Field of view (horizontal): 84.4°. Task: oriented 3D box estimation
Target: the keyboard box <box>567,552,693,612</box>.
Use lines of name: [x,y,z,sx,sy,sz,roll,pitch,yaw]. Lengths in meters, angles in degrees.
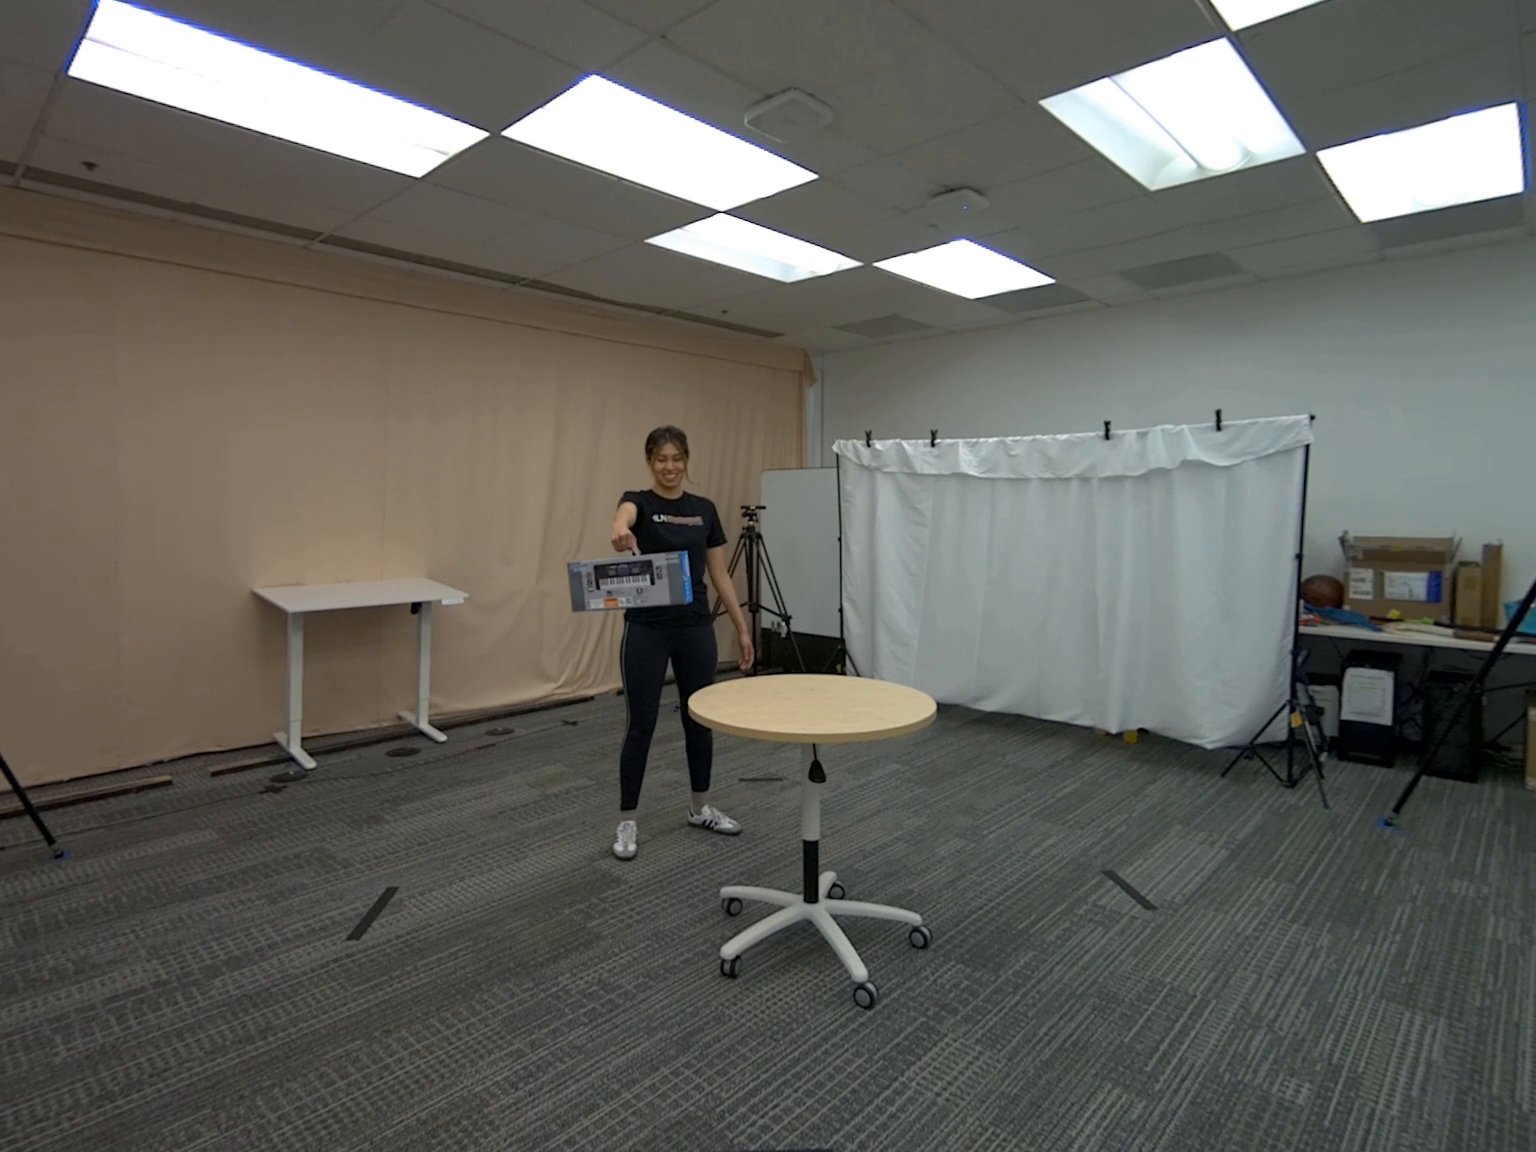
keyboard box: [-0.472,0.024,2.861,0.446,0.176,0.058,-5,2,21]
